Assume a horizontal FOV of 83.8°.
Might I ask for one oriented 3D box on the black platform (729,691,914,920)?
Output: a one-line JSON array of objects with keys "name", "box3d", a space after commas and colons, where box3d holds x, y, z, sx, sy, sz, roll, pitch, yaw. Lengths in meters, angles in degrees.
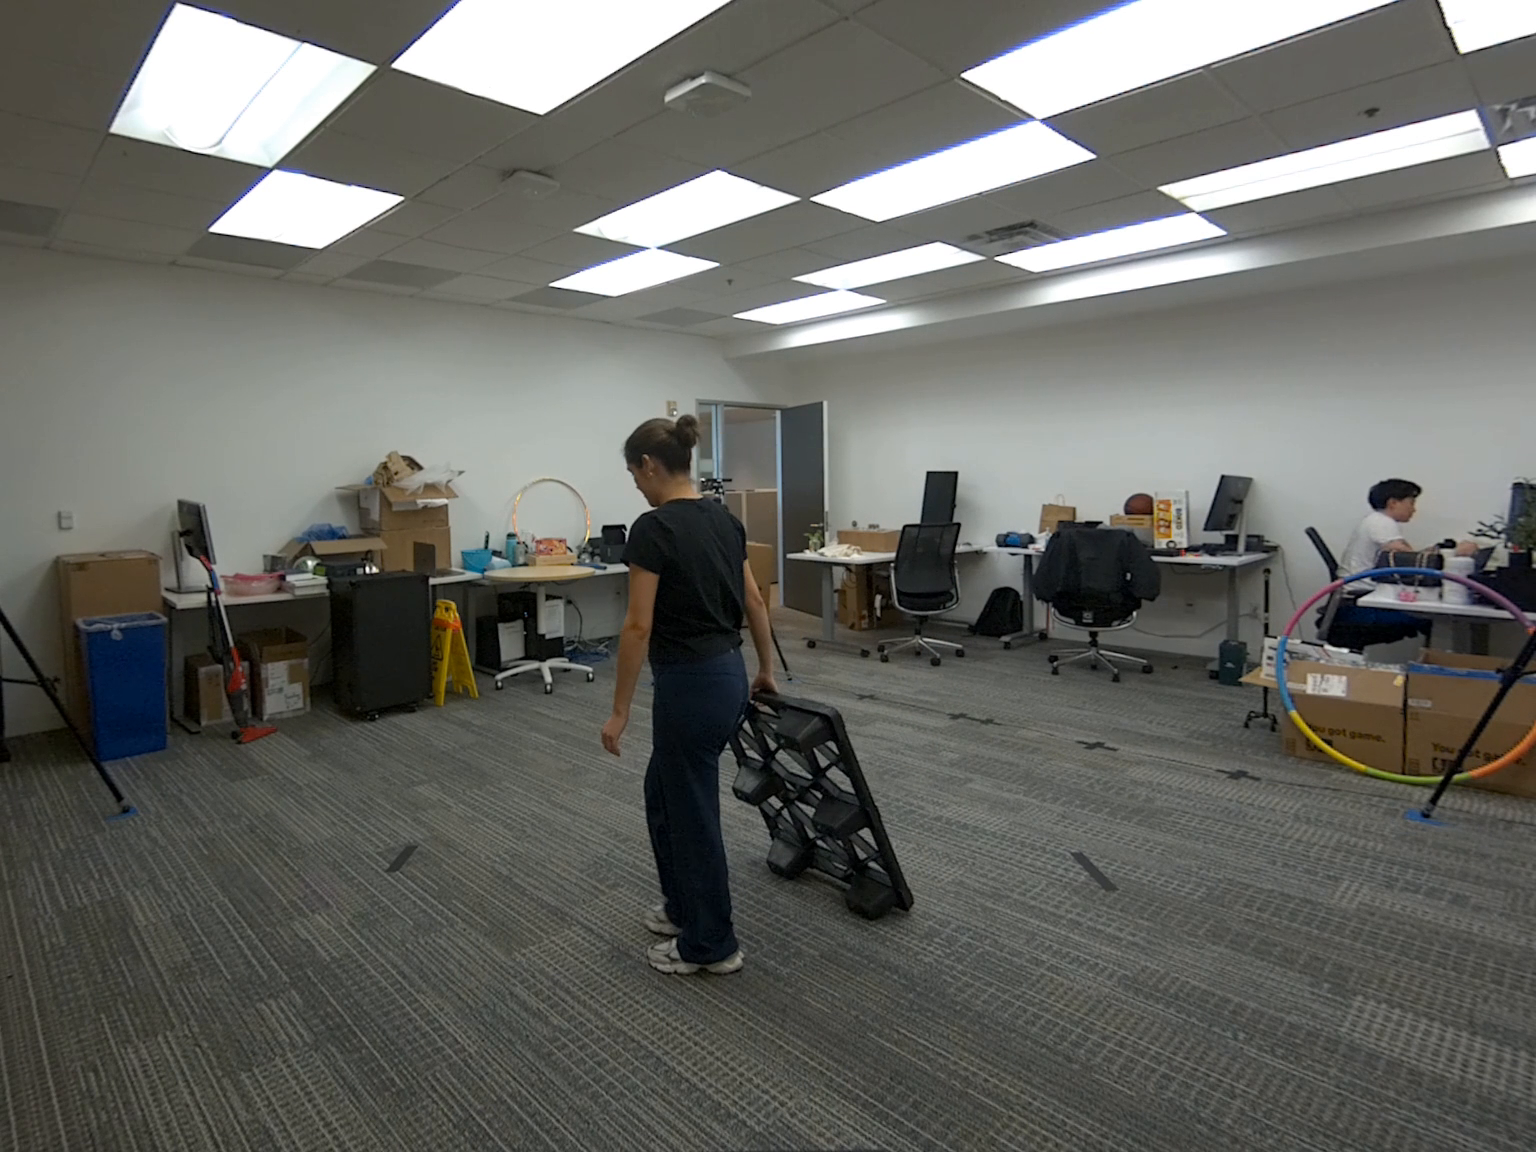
[{"name": "black platform", "box3d": [0.086, 0.715, 2.791, 0.624, 0.786, 0.142, 5, 34, 47]}]
